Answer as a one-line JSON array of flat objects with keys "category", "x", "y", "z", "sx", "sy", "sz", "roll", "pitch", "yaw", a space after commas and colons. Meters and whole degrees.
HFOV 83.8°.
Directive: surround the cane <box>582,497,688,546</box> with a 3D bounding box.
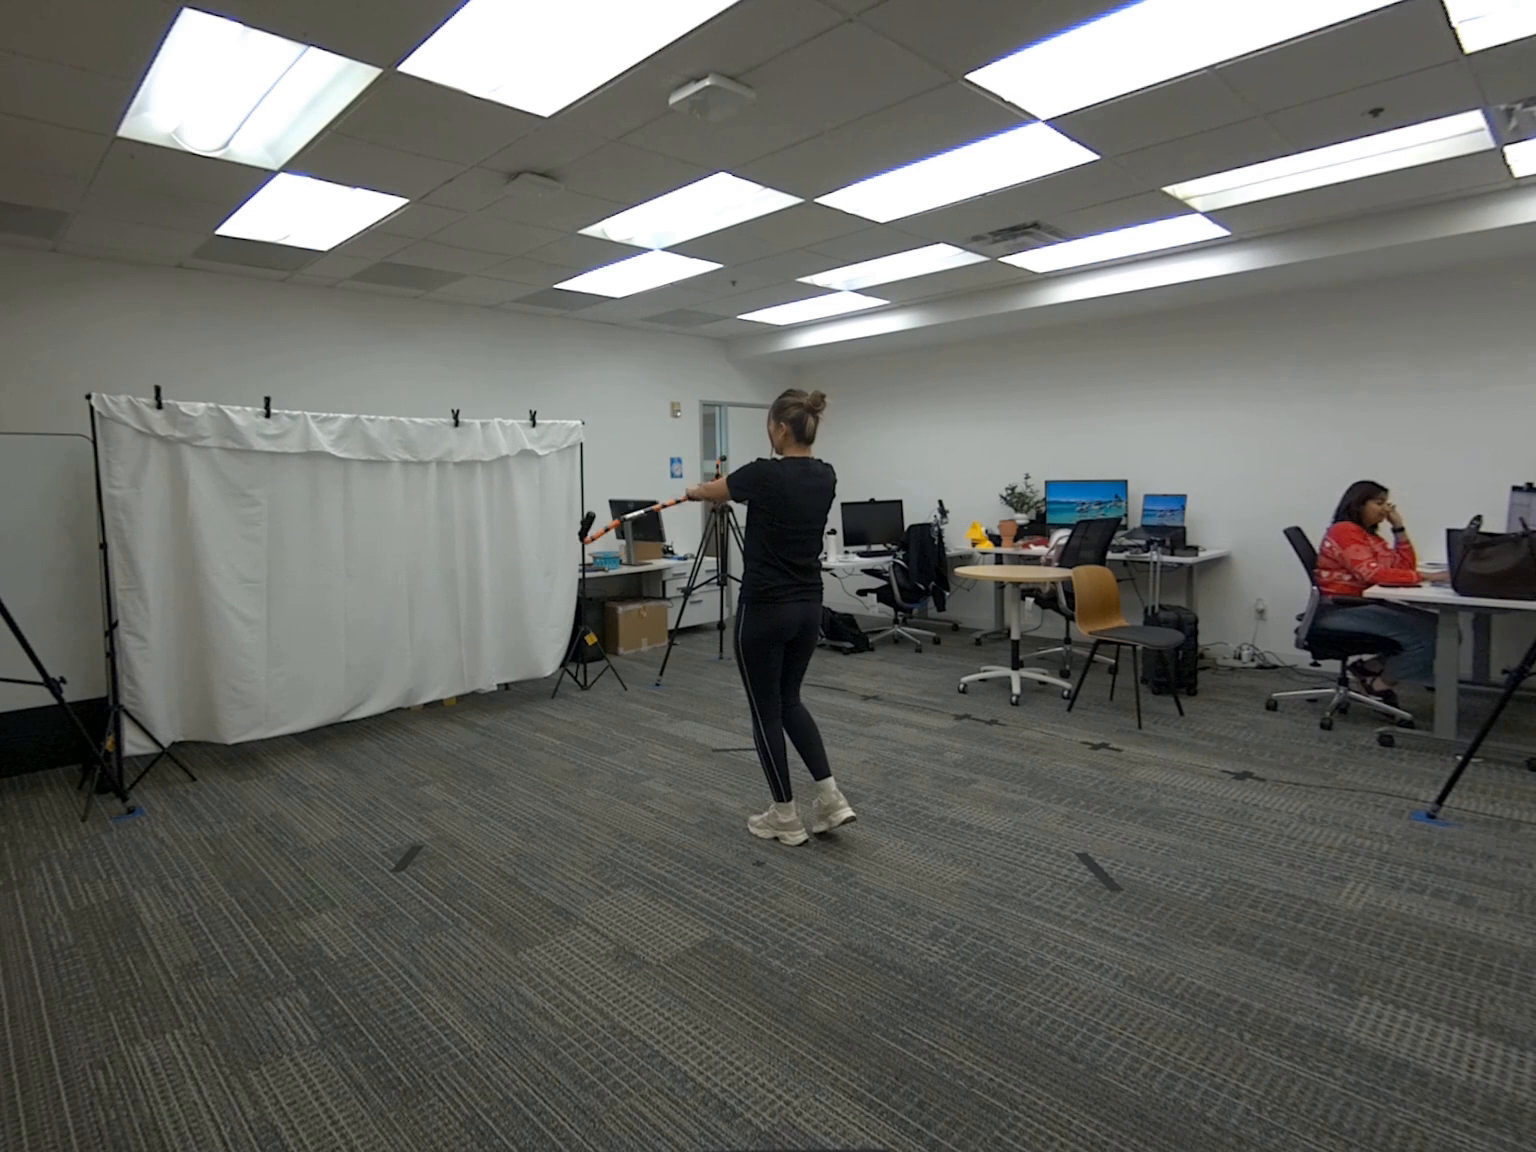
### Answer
[{"category": "cane", "x": -0.443, "y": -0.292, "z": 3.483, "sx": 0.155, "sy": 0.205, "sz": 0.895, "roll": 41, "pitch": 36, "yaw": 15}]
